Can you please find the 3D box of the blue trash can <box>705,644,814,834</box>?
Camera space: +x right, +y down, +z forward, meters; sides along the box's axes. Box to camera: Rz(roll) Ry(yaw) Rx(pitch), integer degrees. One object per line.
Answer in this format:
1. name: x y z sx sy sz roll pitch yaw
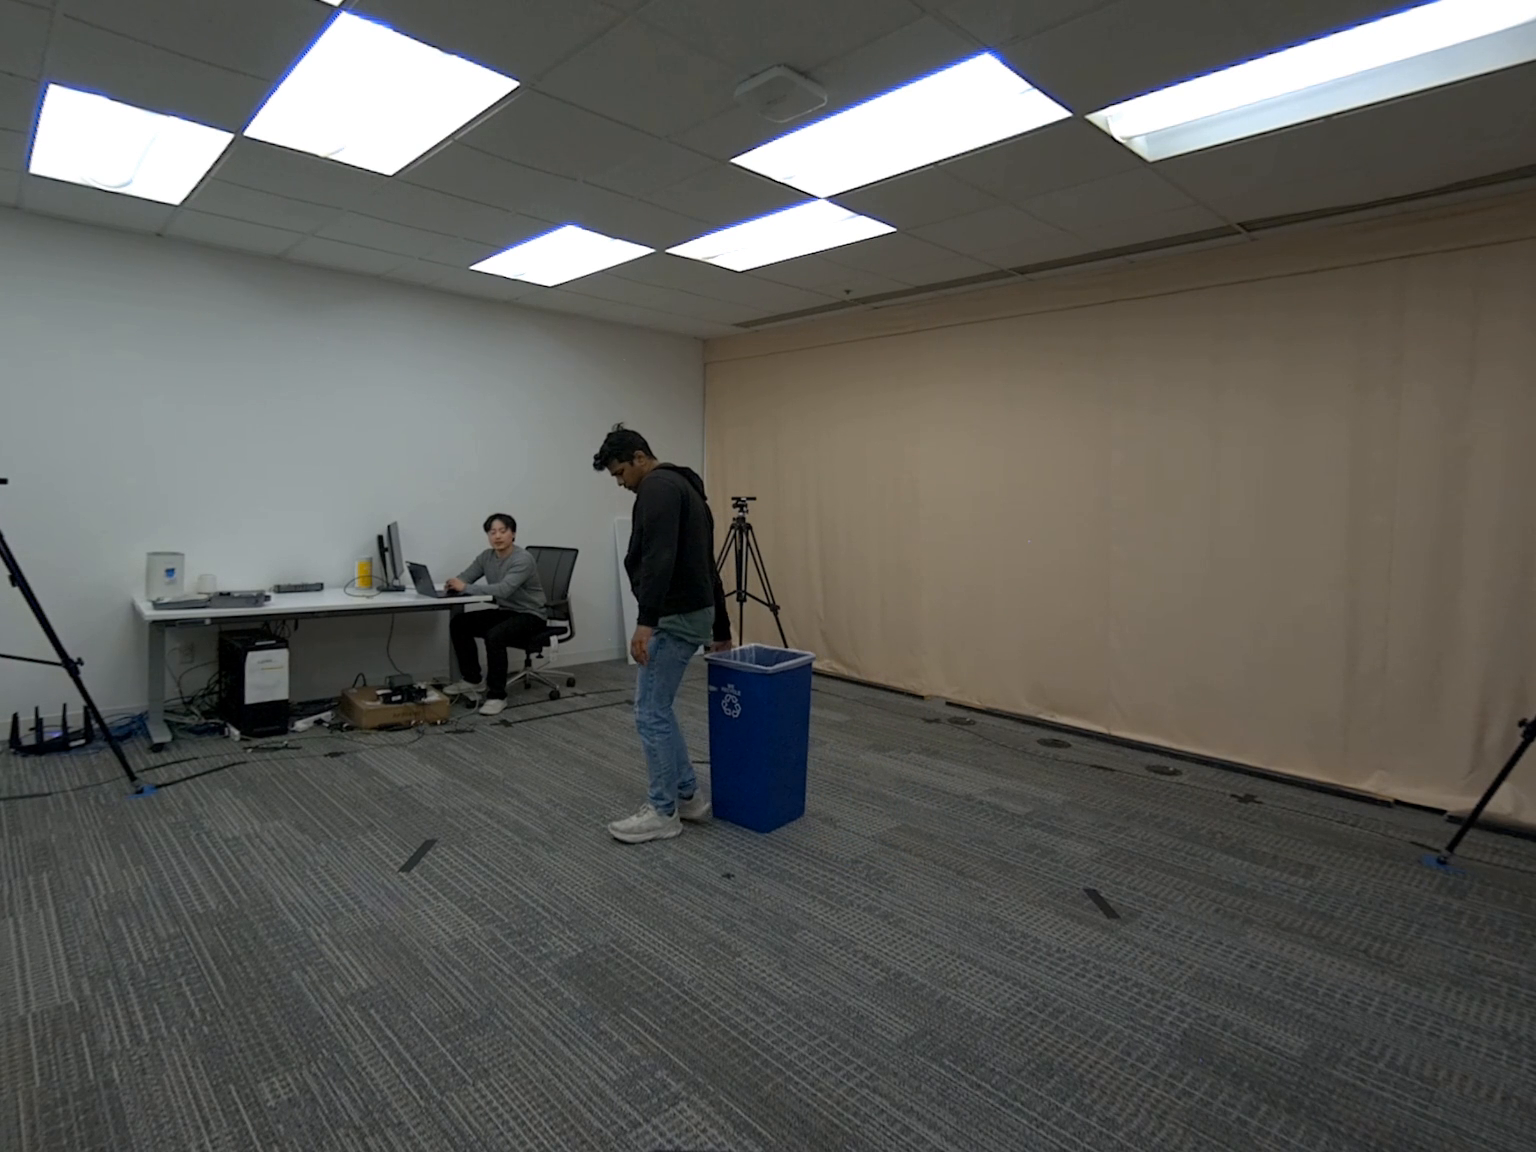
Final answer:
1. blue trash can: -0.051 0.694 3.679 0.387 0.711 0.366 5 6 38
